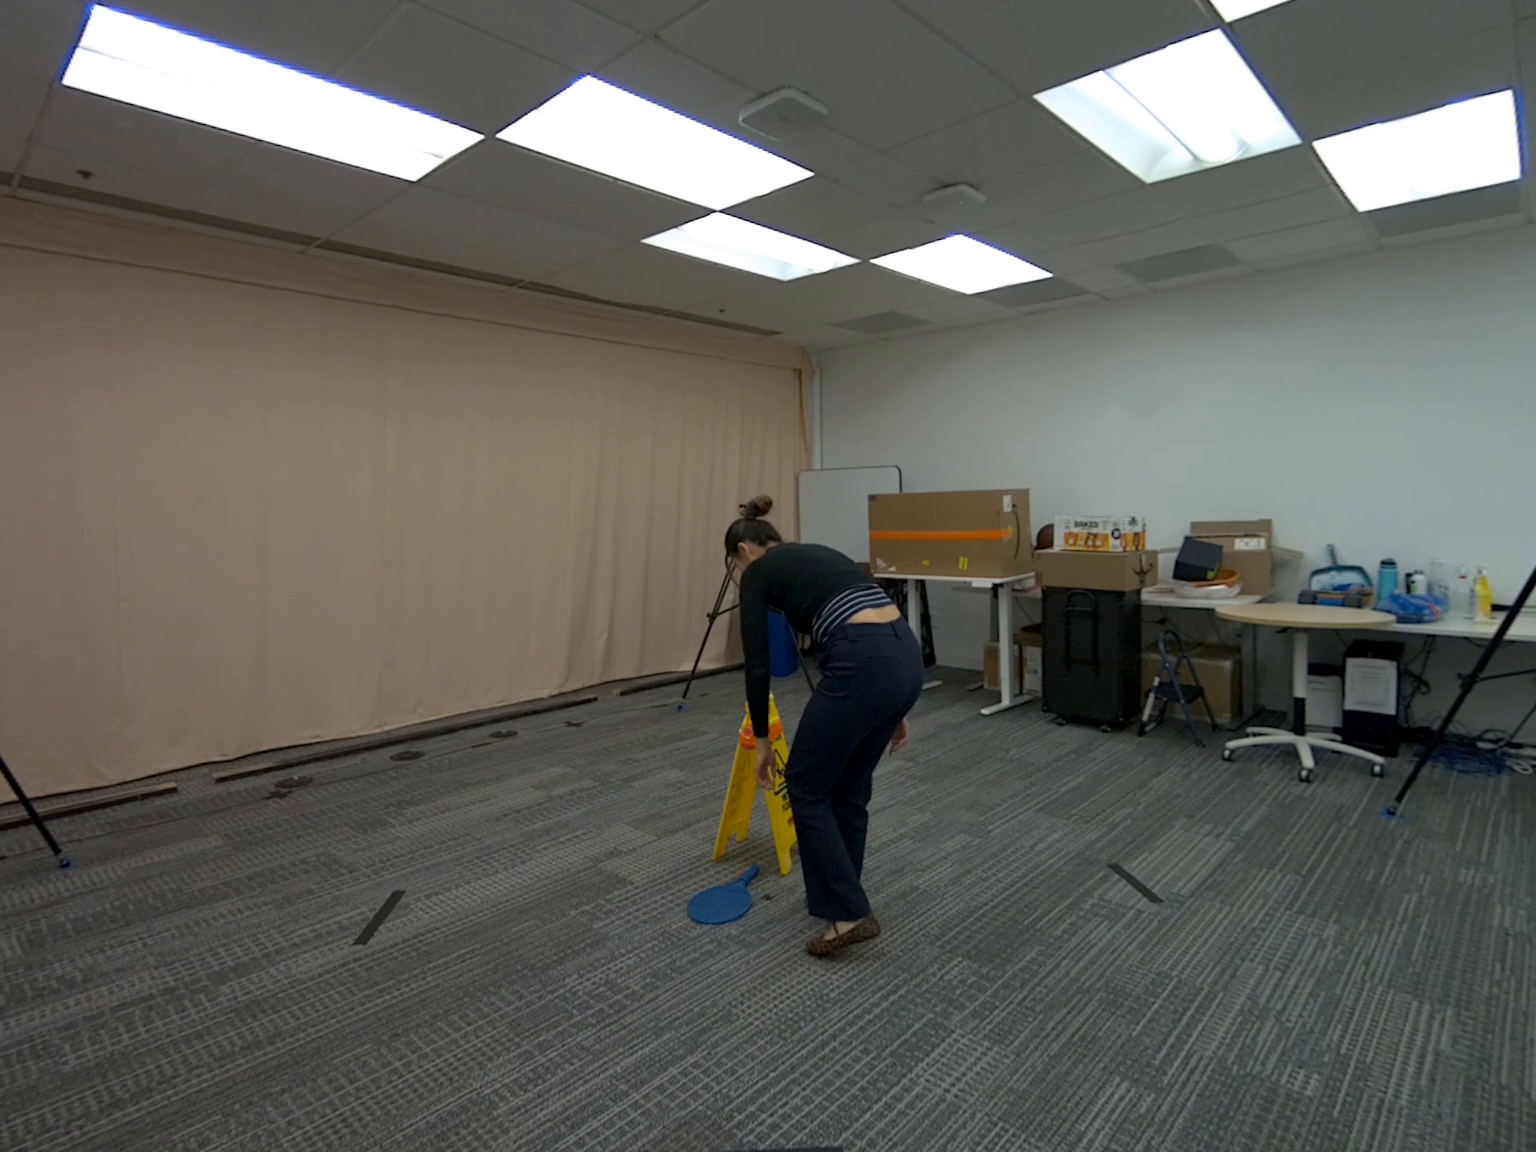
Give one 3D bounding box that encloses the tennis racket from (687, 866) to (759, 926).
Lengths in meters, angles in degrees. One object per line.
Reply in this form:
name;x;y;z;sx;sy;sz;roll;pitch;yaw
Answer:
tennis racket;-0.138;1.125;2.993;0.219;0.031;0.423;1;8;27
